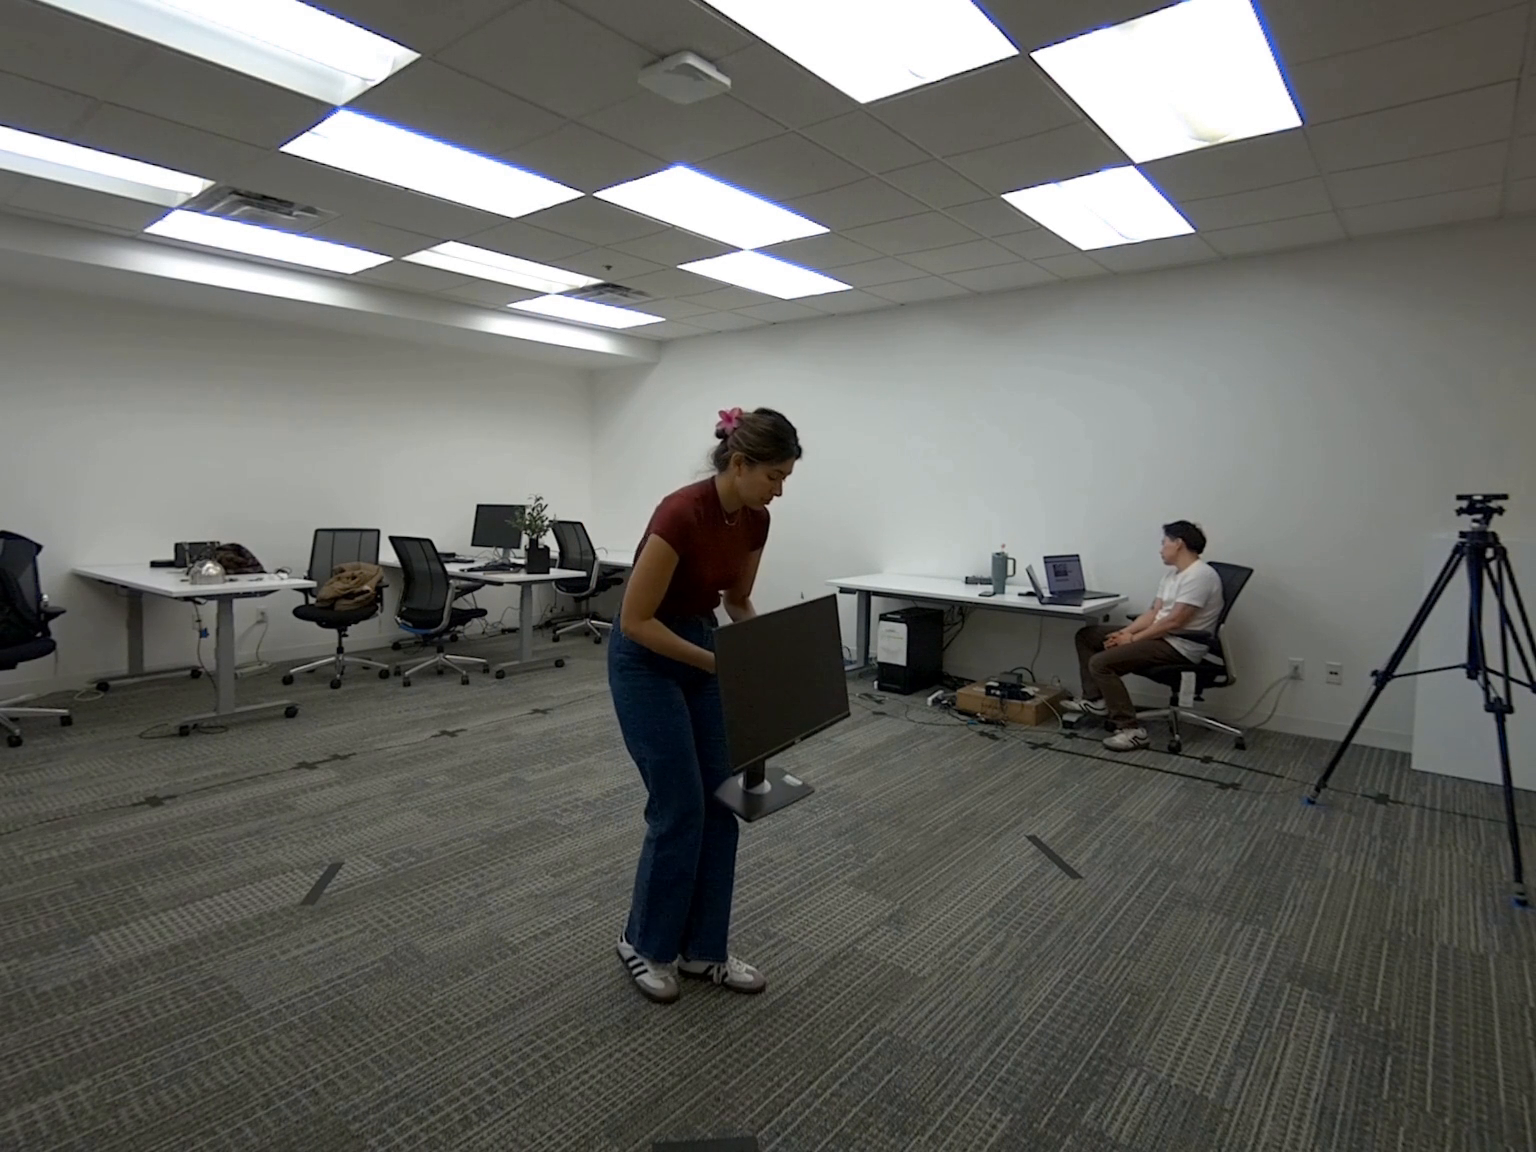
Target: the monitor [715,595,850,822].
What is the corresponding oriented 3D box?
[{"bbox_3d":[0.009,0.341,2.222,0.194,0.517,0.525,14,14,35],"label":"monitor"}]
